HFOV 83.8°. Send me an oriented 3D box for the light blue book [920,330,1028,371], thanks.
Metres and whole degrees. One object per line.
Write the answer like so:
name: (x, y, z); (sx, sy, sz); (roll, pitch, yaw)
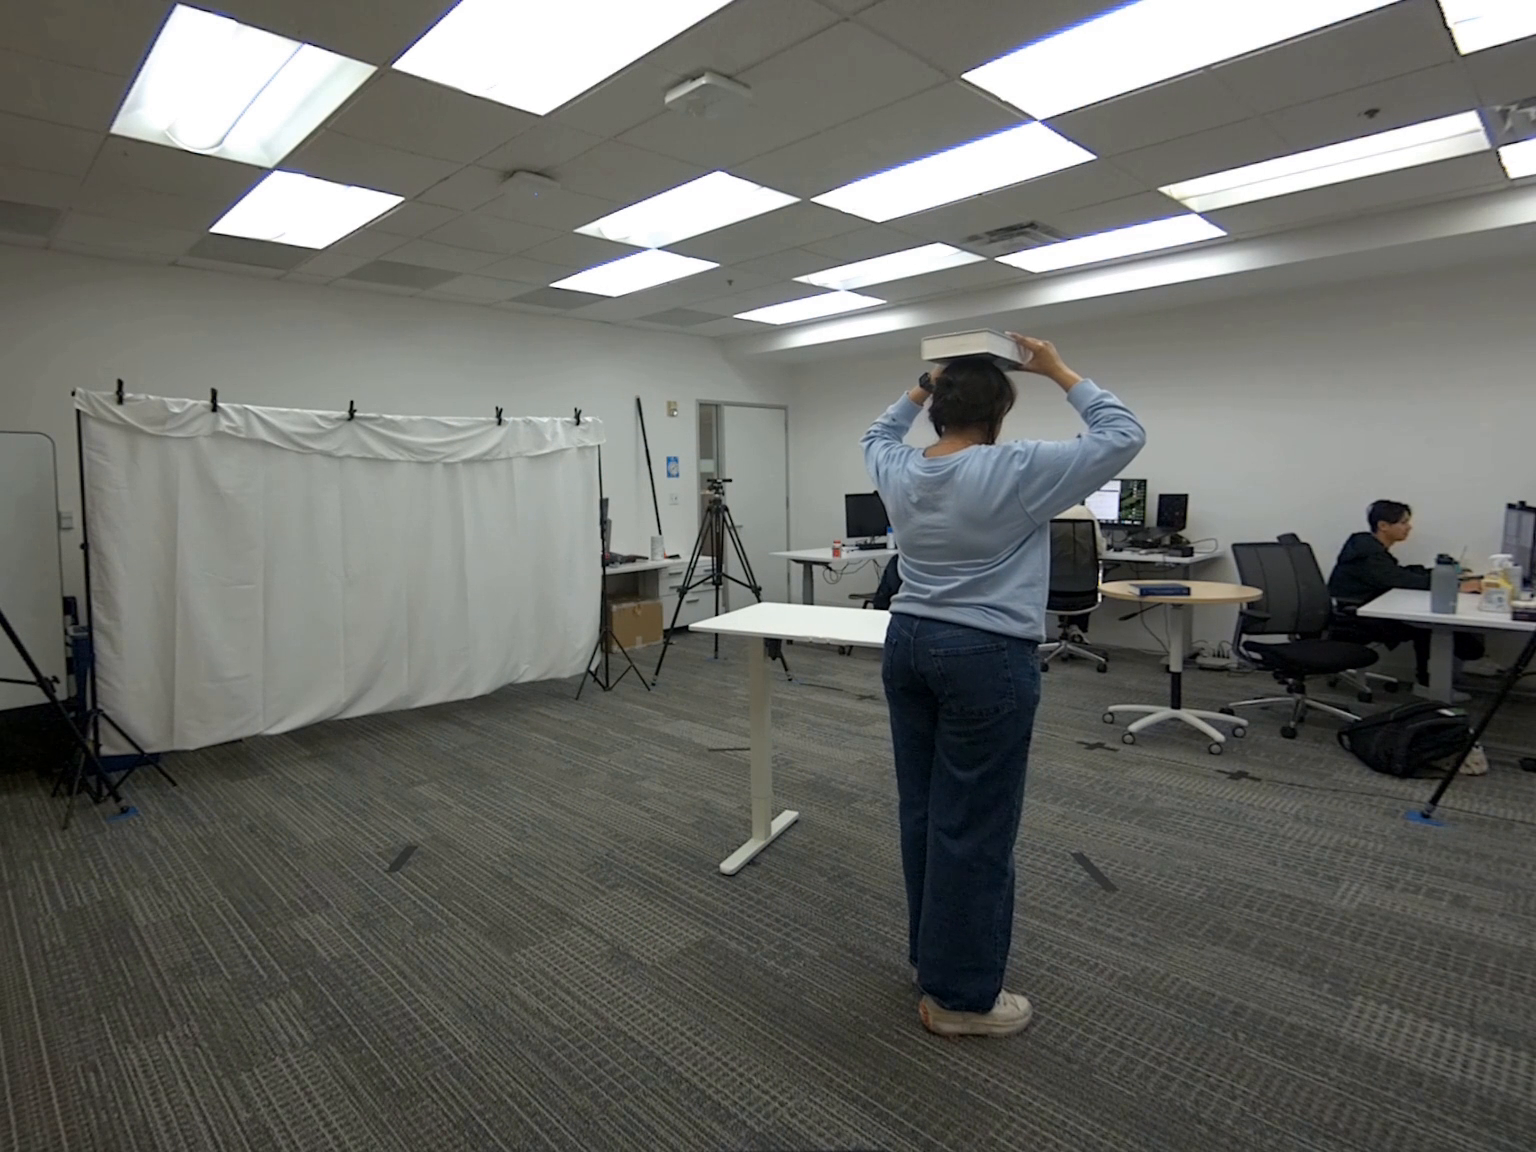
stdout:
light blue book: (0.570, -0.582, 2.213); (0.197, 0.059, 0.253); (6, 4, 44)
